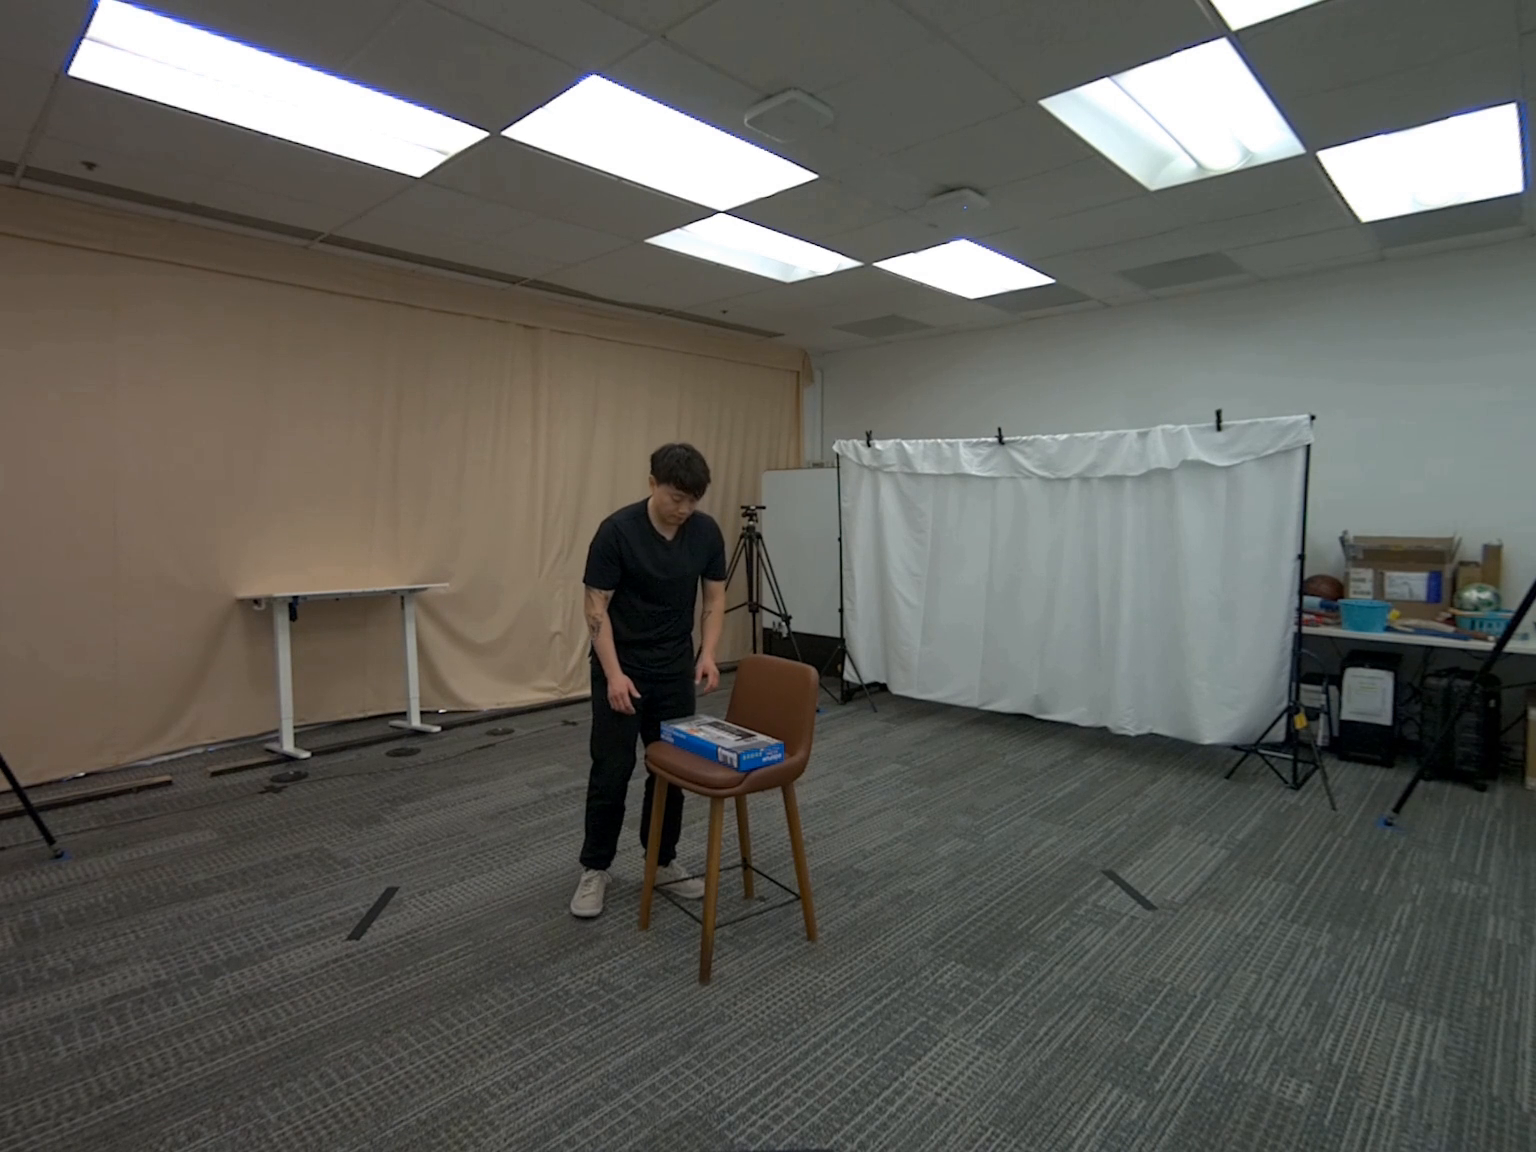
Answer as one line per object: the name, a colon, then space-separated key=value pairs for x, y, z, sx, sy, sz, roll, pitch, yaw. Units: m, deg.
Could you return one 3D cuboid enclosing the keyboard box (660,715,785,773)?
keyboard box: x=-0.156 y=0.523 z=2.692 sx=0.171 sy=0.059 sz=0.451 roll=-5 pitch=7 yaw=-37
